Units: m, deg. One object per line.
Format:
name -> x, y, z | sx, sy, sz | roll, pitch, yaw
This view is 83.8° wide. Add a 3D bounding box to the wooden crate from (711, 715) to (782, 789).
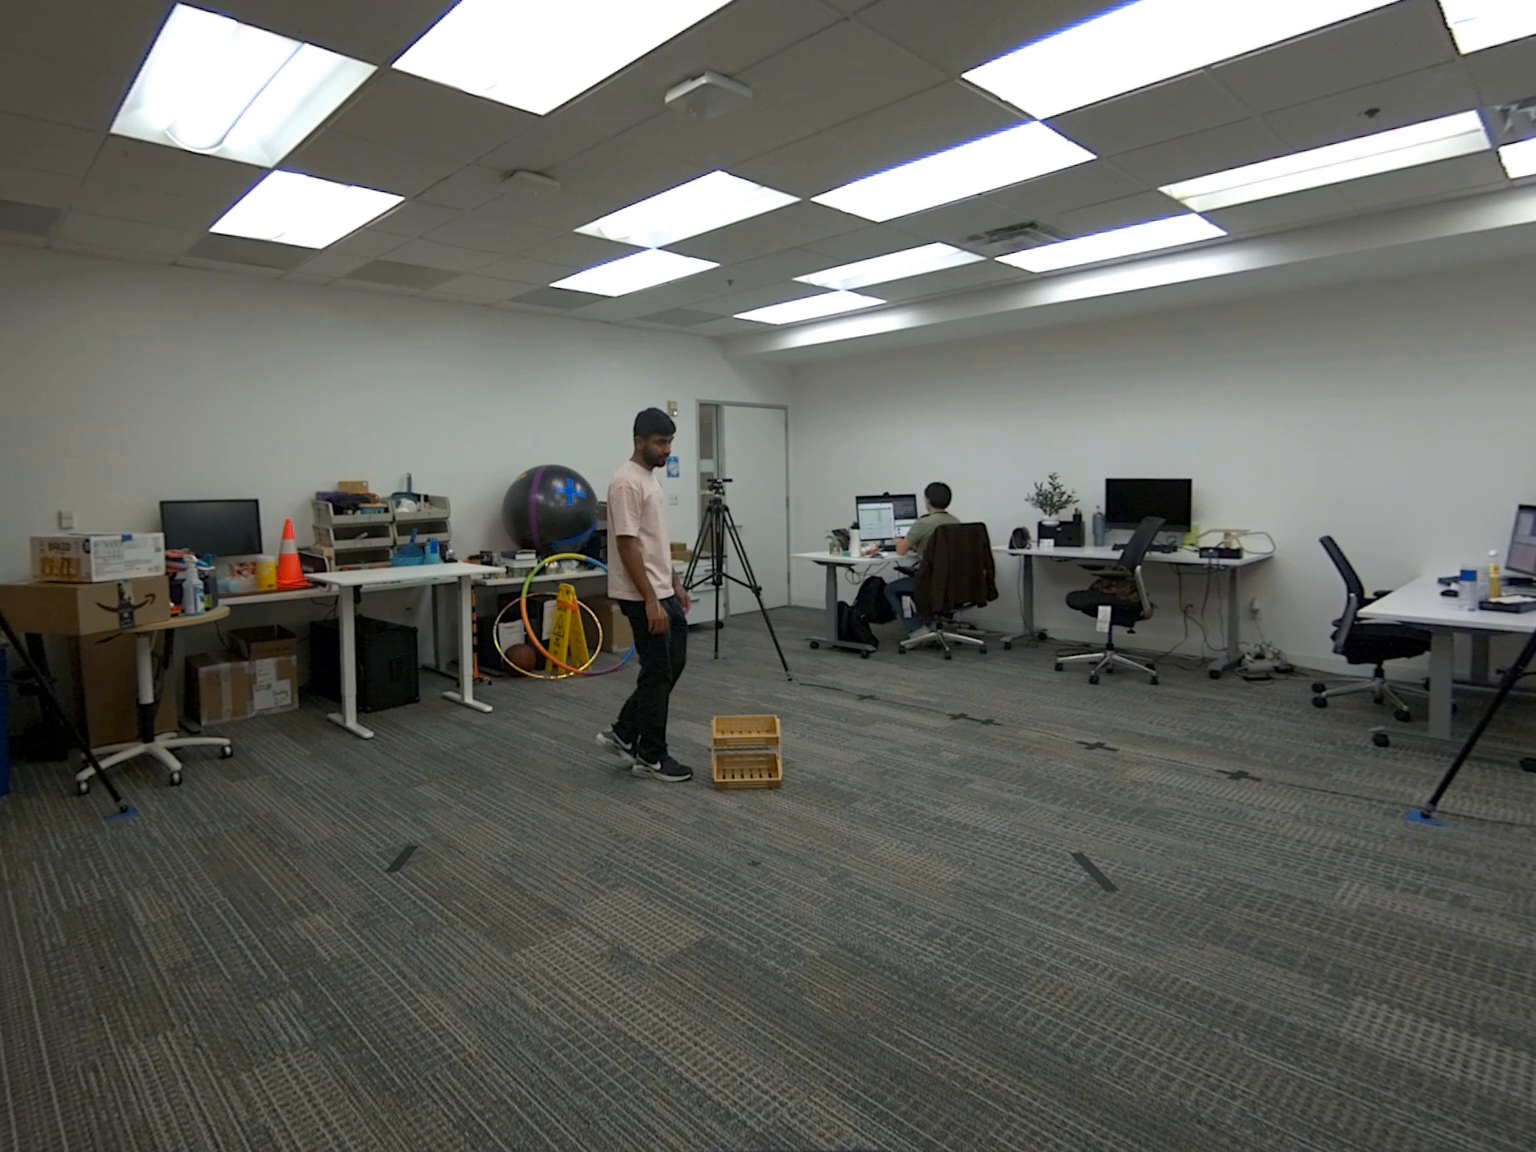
wooden crate -> -0.101, 0.813, 3.976 | 0.324, 0.272, 0.303 | -1, 4, -2
